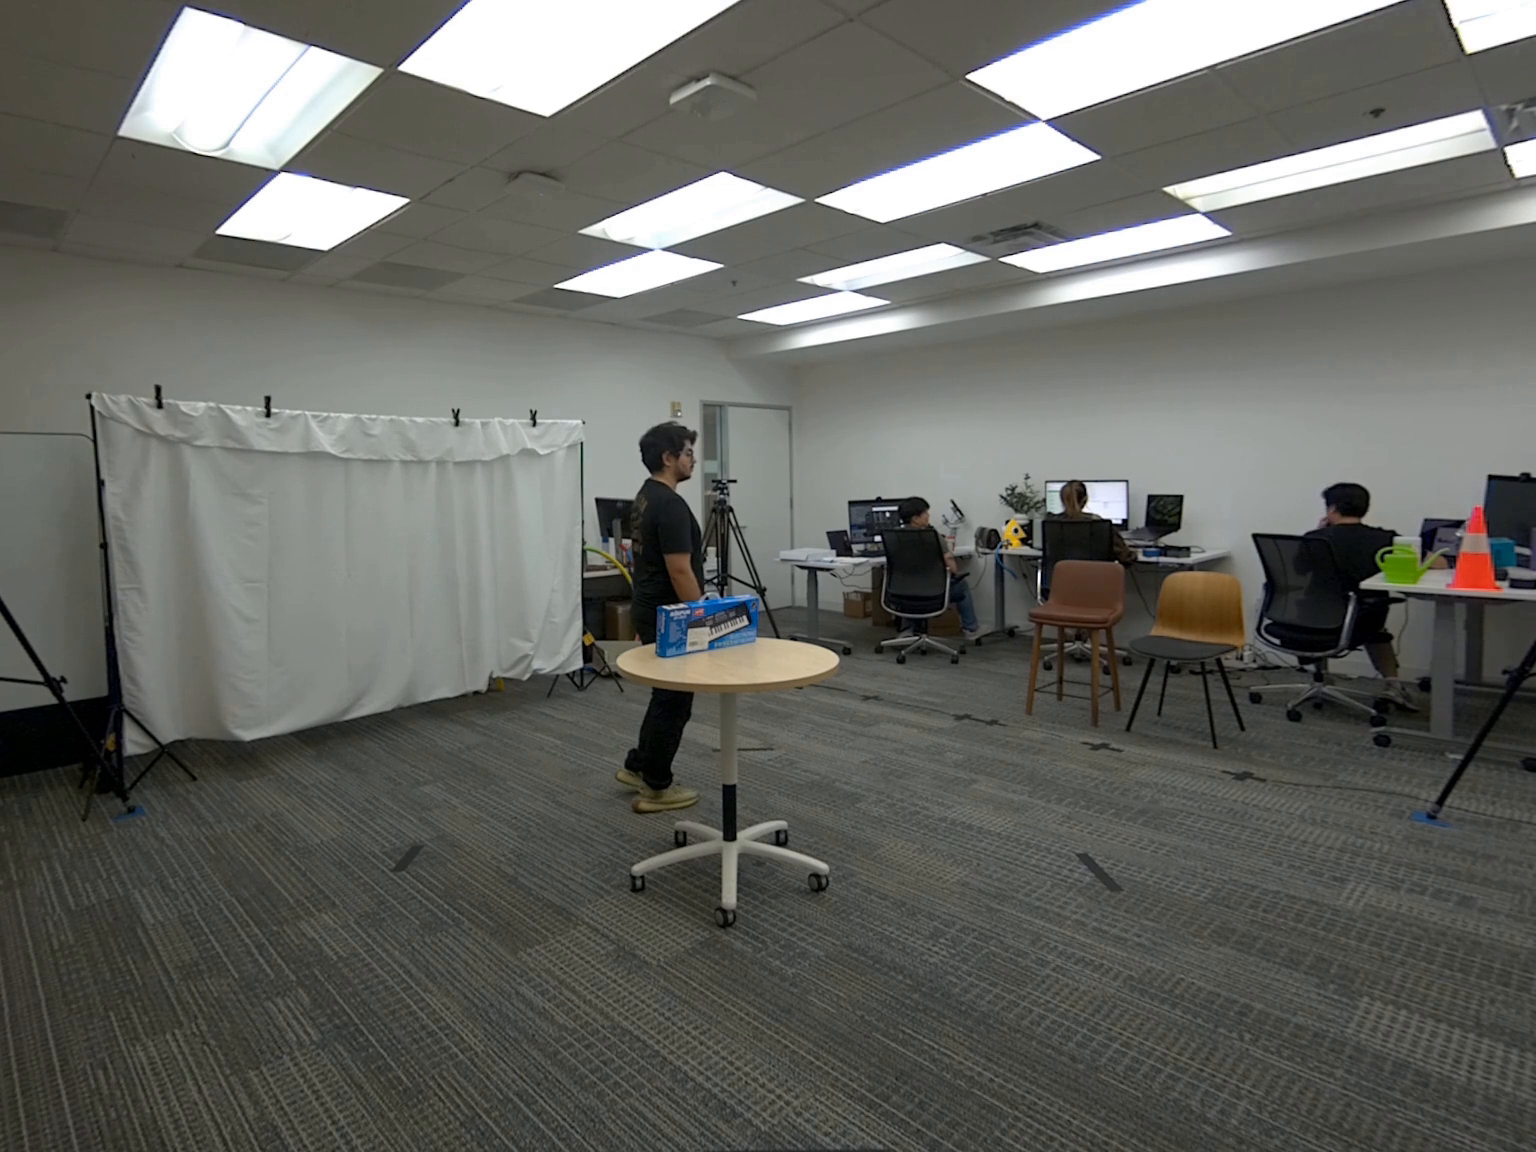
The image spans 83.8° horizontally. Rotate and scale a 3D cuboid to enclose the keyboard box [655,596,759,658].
[{"bbox_3d":[-0.216,0.178,3.101,0.425,0.175,0.061,-6,12,-43],"label":"keyboard box"}]
